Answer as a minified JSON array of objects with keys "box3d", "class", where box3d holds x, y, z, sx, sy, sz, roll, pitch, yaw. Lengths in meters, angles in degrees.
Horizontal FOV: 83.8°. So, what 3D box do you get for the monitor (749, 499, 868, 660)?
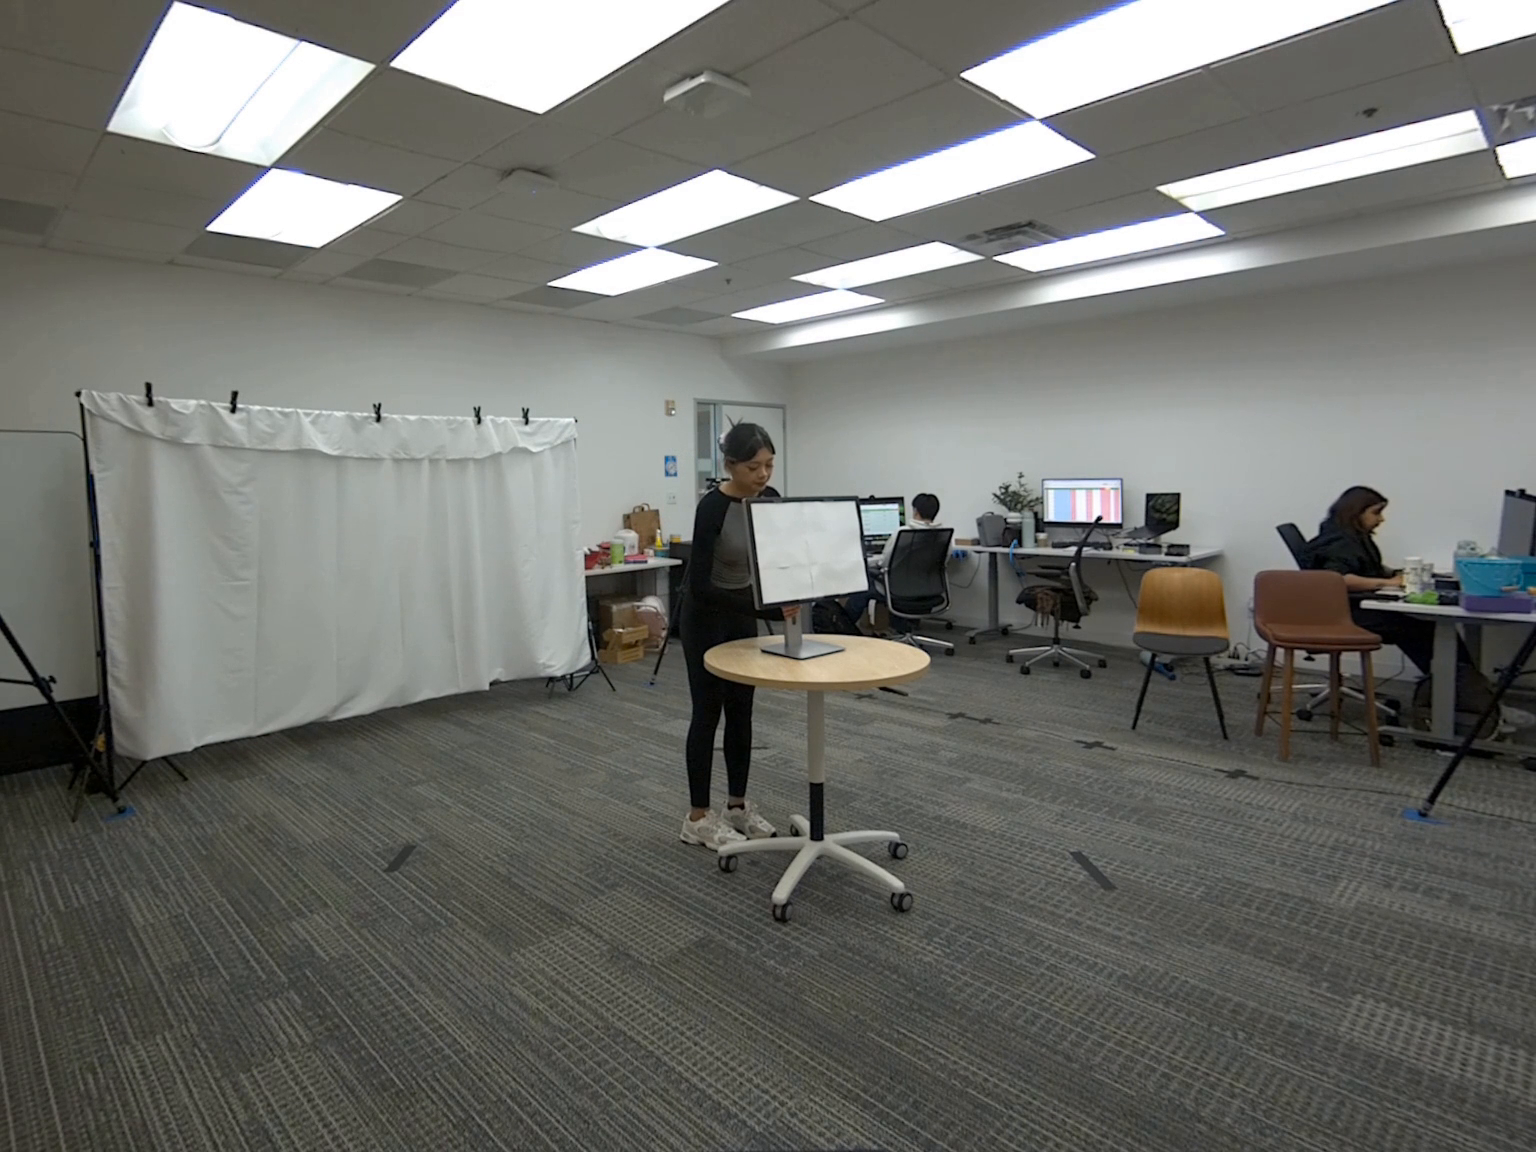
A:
[{"box3d":[0.121,0.000,2.985,0.525,0.520,0.193,-6,8,-45],"class":"monitor"}]
